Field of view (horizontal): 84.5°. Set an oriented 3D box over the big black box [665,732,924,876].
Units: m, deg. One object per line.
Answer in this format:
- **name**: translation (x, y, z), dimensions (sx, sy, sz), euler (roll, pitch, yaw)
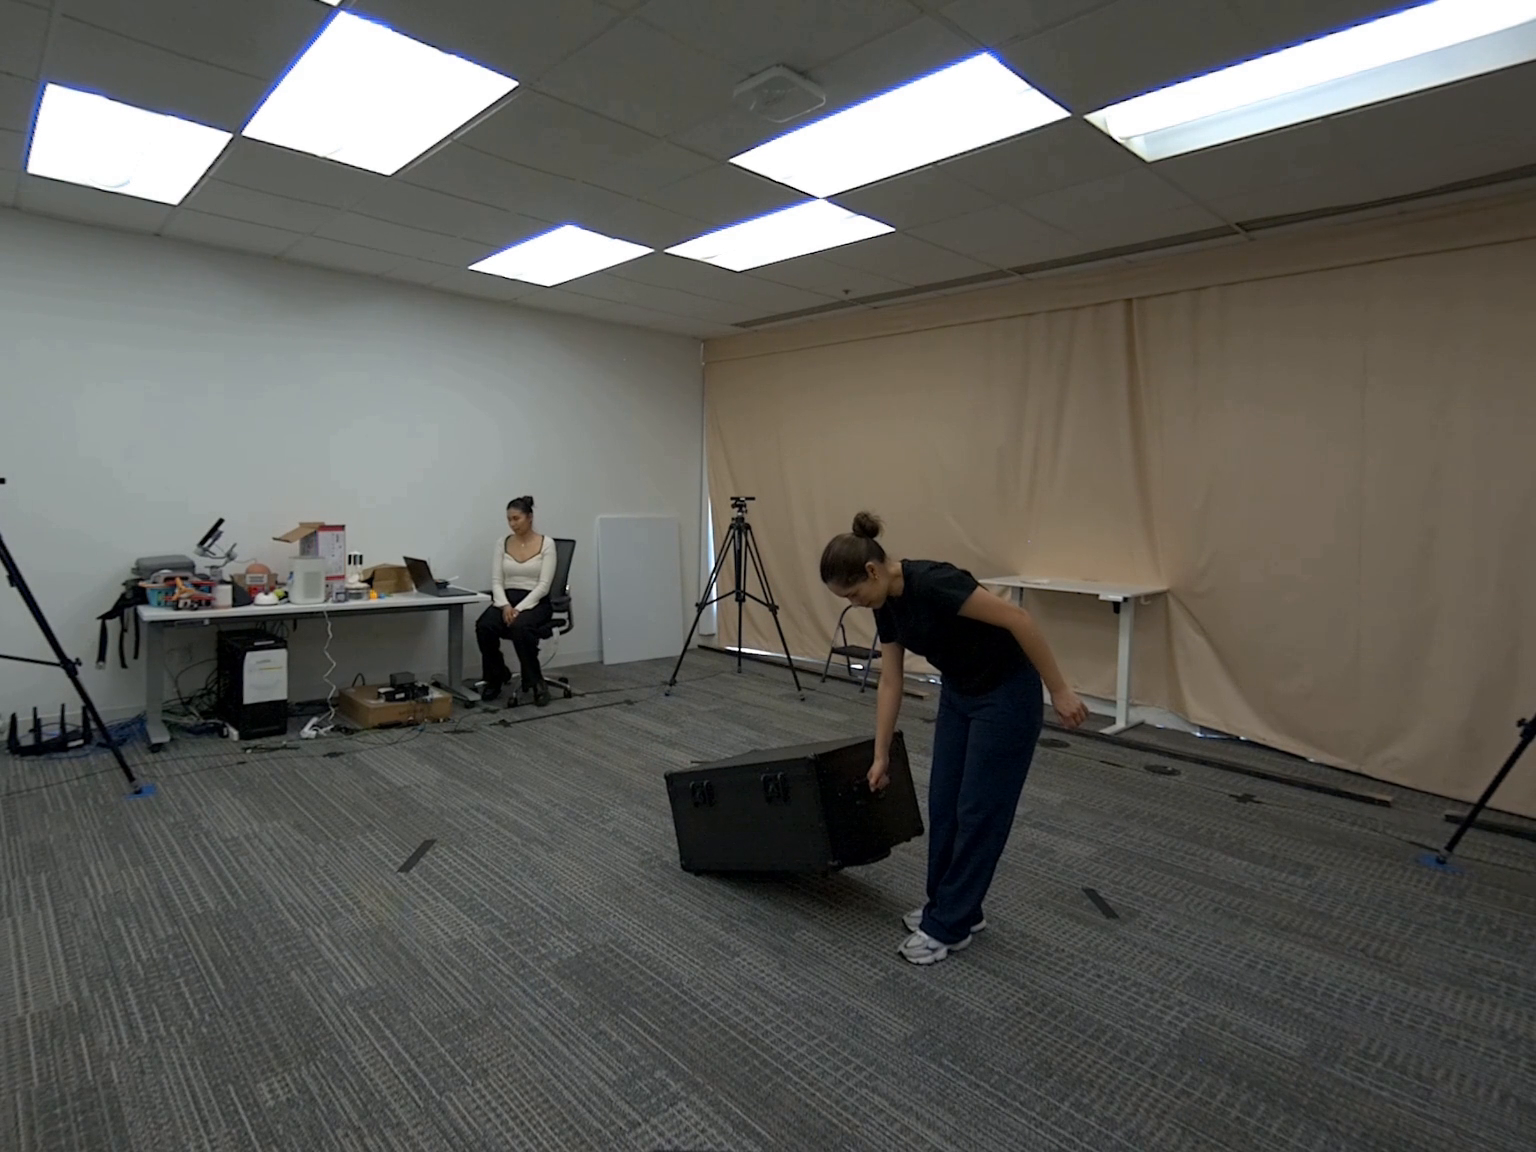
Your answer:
- **big black box**: translation (0.039, 0.821, 3.072), dimensions (0.510, 0.399, 0.873), euler (-4, -11, -45)
